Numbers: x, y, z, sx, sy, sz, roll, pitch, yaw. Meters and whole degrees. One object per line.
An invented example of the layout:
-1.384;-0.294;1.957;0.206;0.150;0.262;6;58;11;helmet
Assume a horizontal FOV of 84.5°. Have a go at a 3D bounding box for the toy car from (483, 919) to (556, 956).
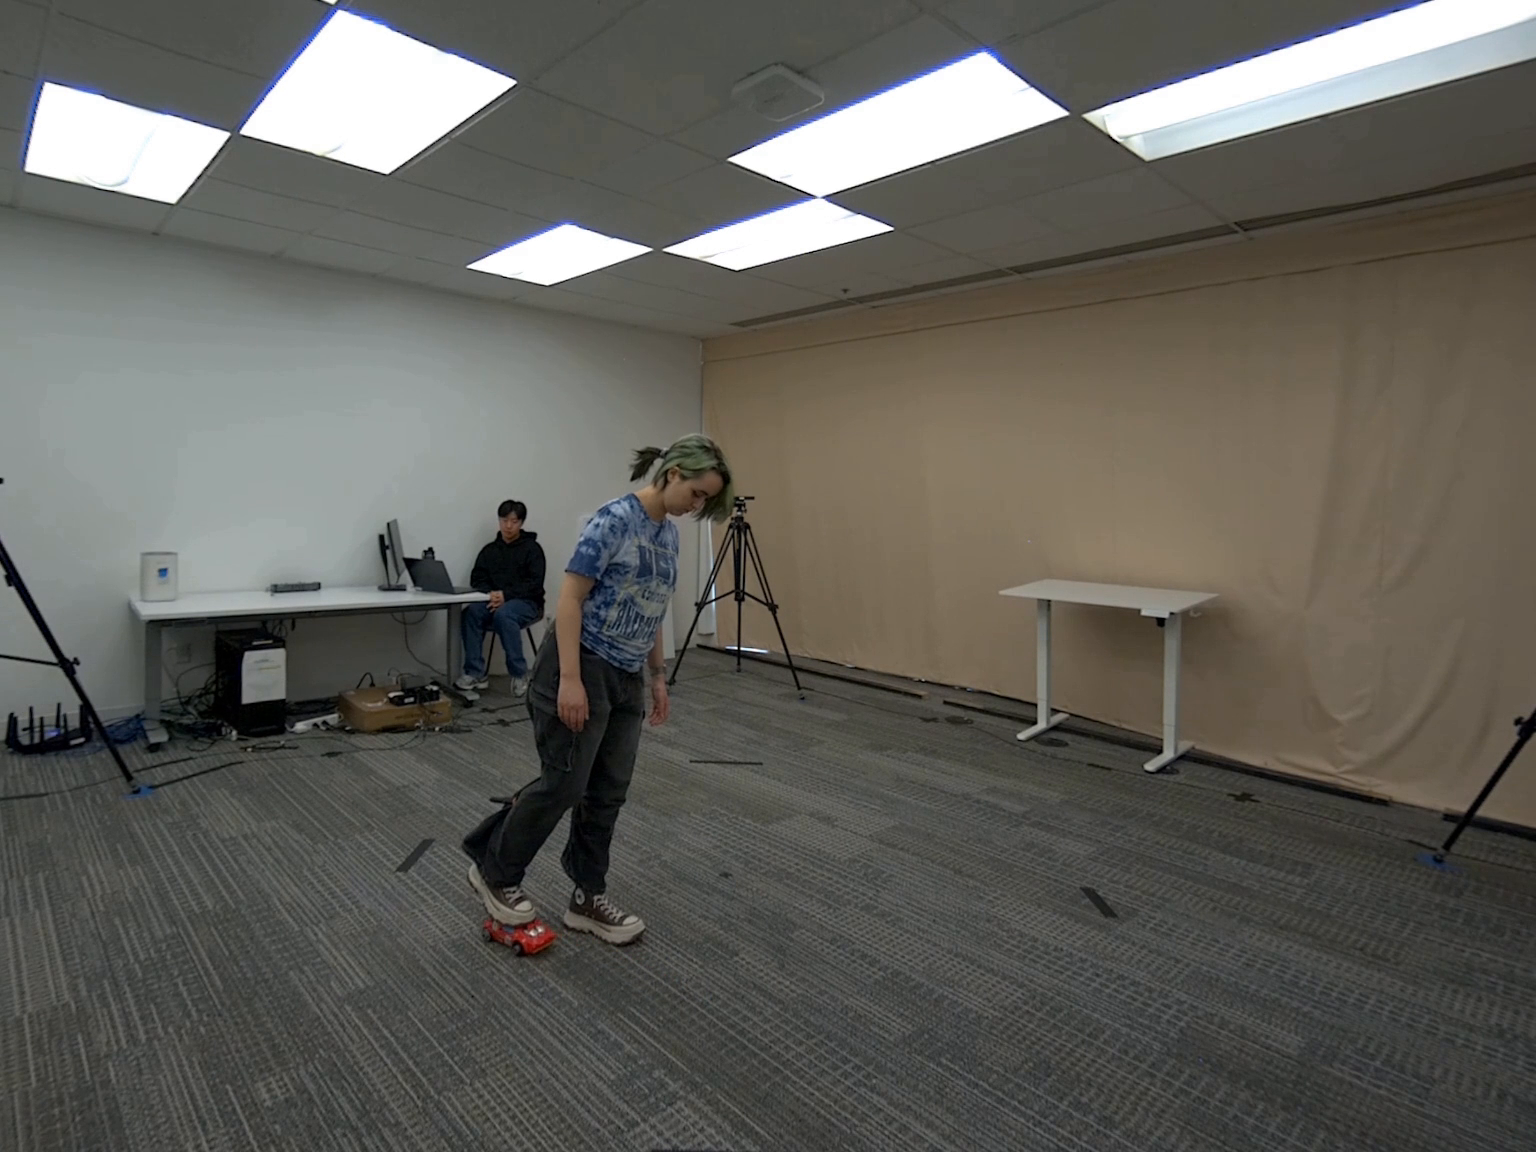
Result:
-0.774;1.110;2.591;0.259;0.083;0.127;-8;-1;35;toy car
